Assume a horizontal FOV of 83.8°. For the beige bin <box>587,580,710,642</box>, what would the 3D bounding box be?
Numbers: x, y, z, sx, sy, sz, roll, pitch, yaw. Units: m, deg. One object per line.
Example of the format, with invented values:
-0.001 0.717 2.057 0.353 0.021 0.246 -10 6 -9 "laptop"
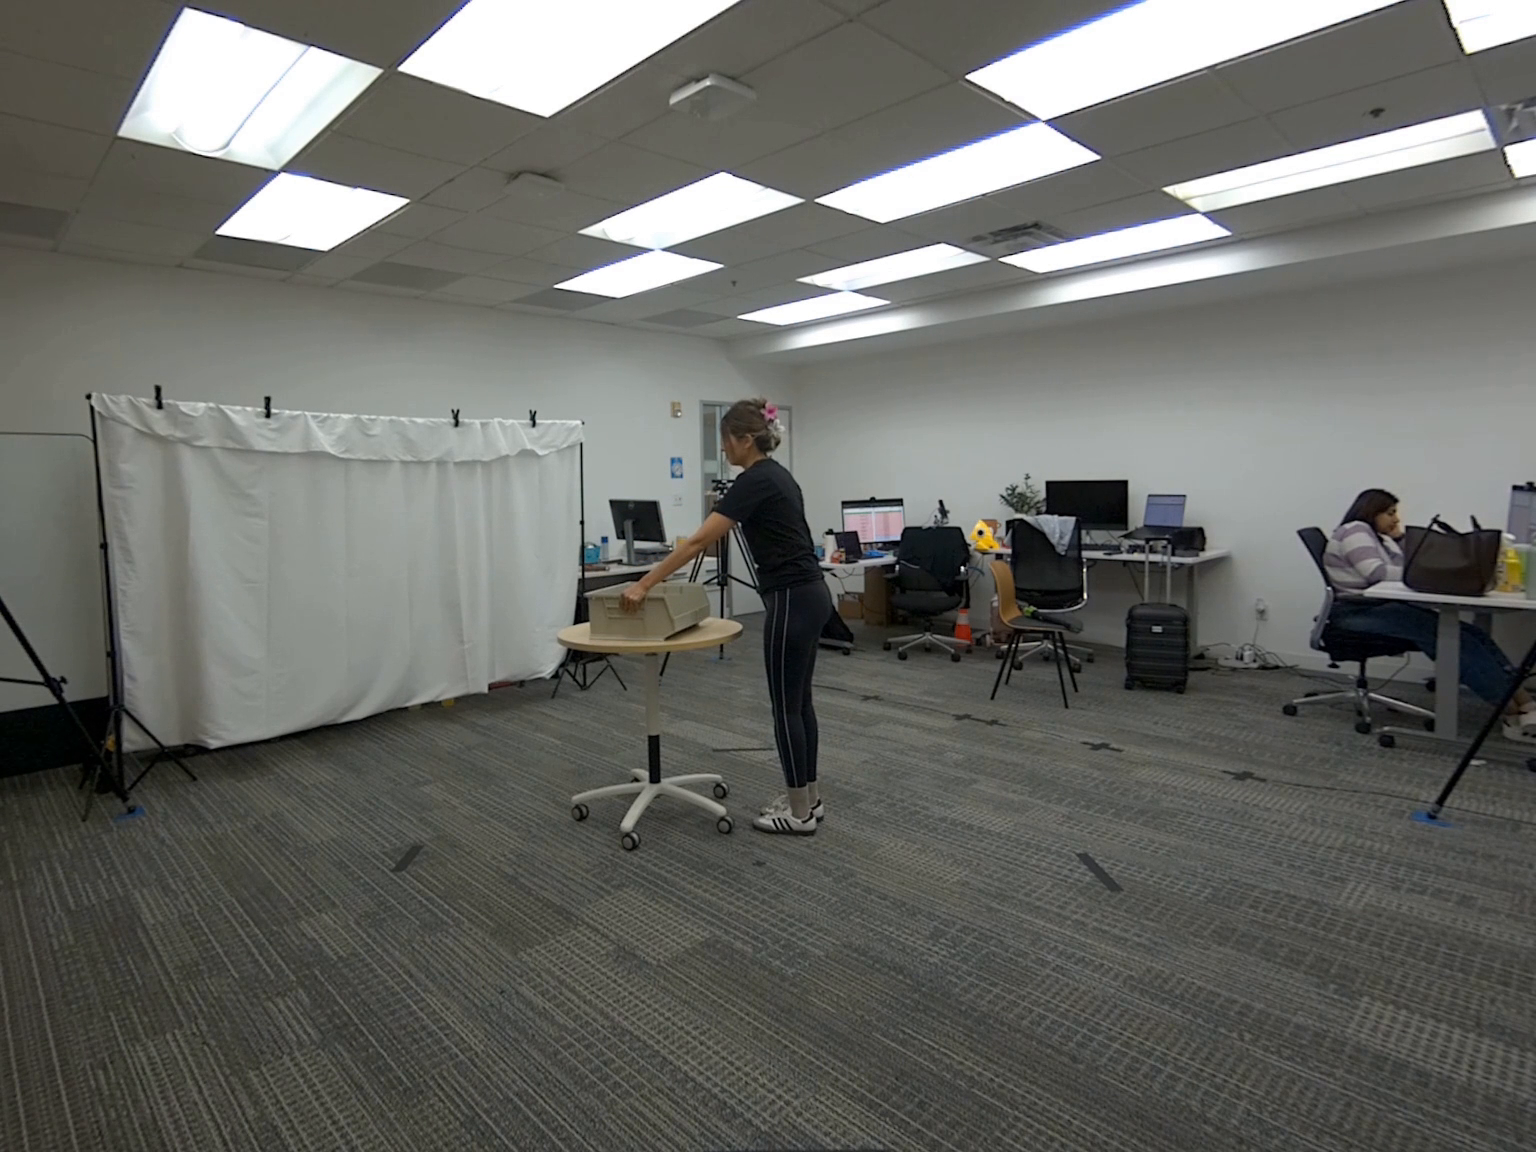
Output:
-0.475 0.137 3.475 0.383 0.188 0.417 -2 5 17 "beige bin"
